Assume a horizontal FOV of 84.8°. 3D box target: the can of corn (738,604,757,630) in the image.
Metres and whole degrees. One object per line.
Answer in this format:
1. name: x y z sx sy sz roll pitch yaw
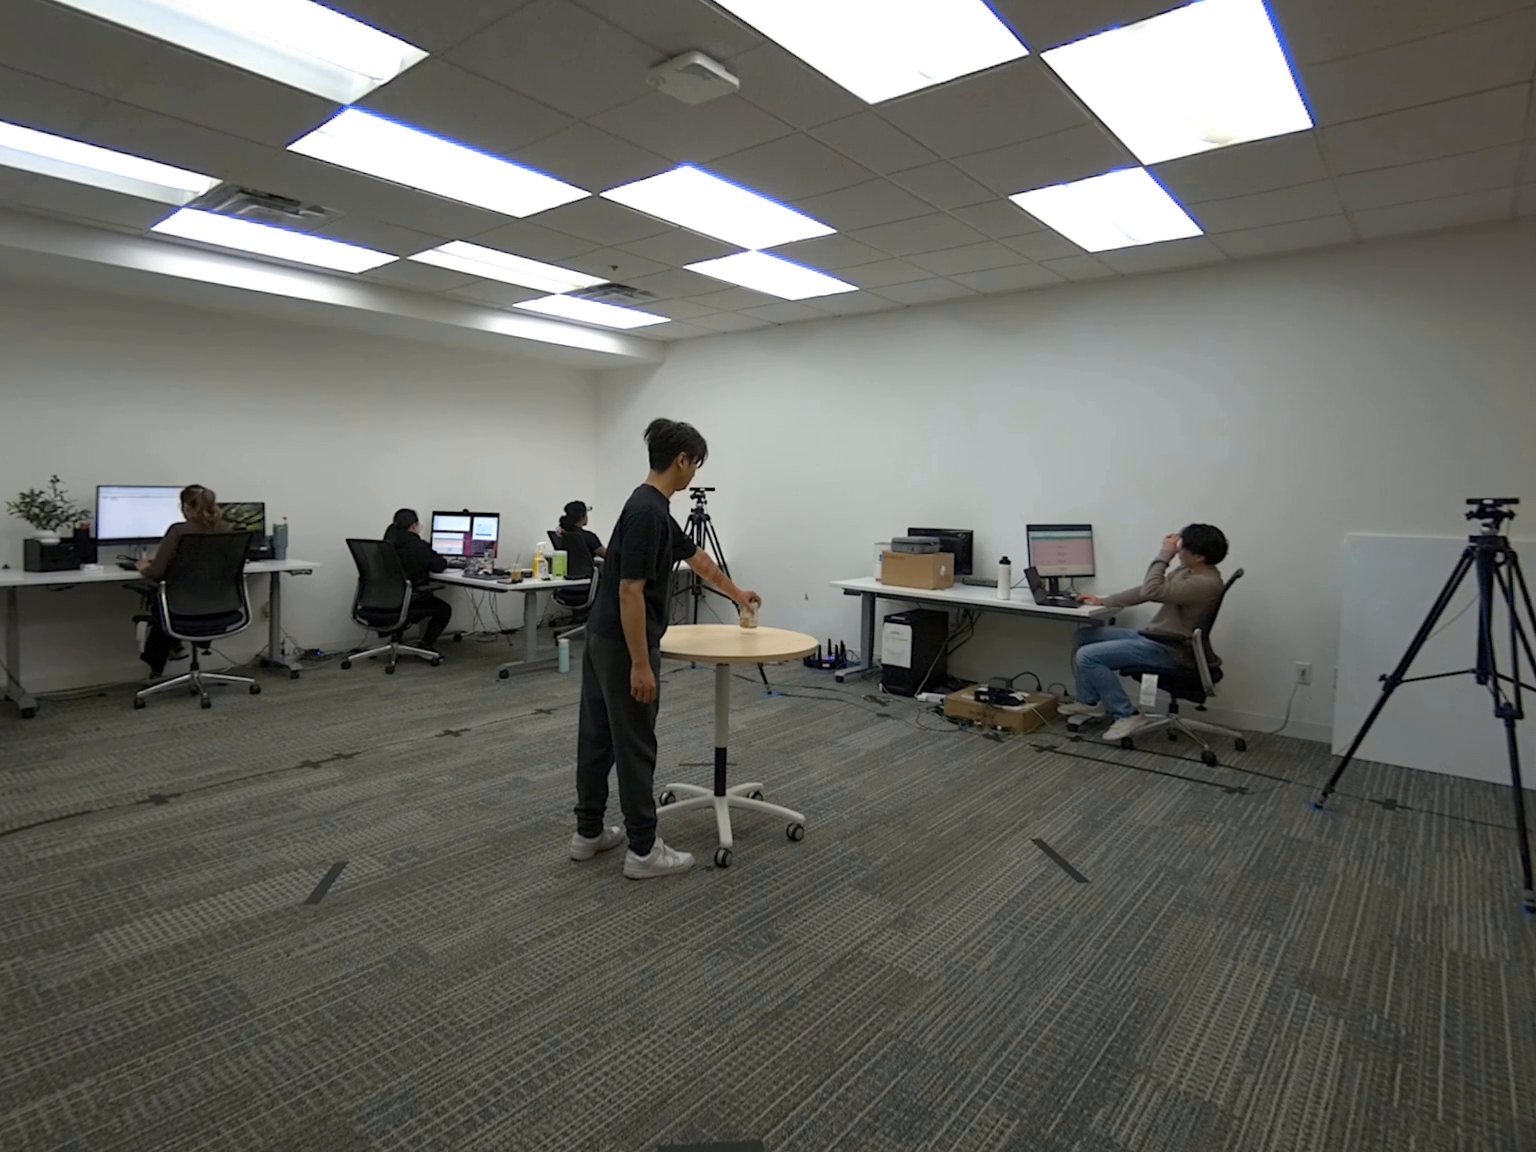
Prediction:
1. can of corn: -0.083 0.158 3.591 0.074 0.110 0.075 -3 5 -1
